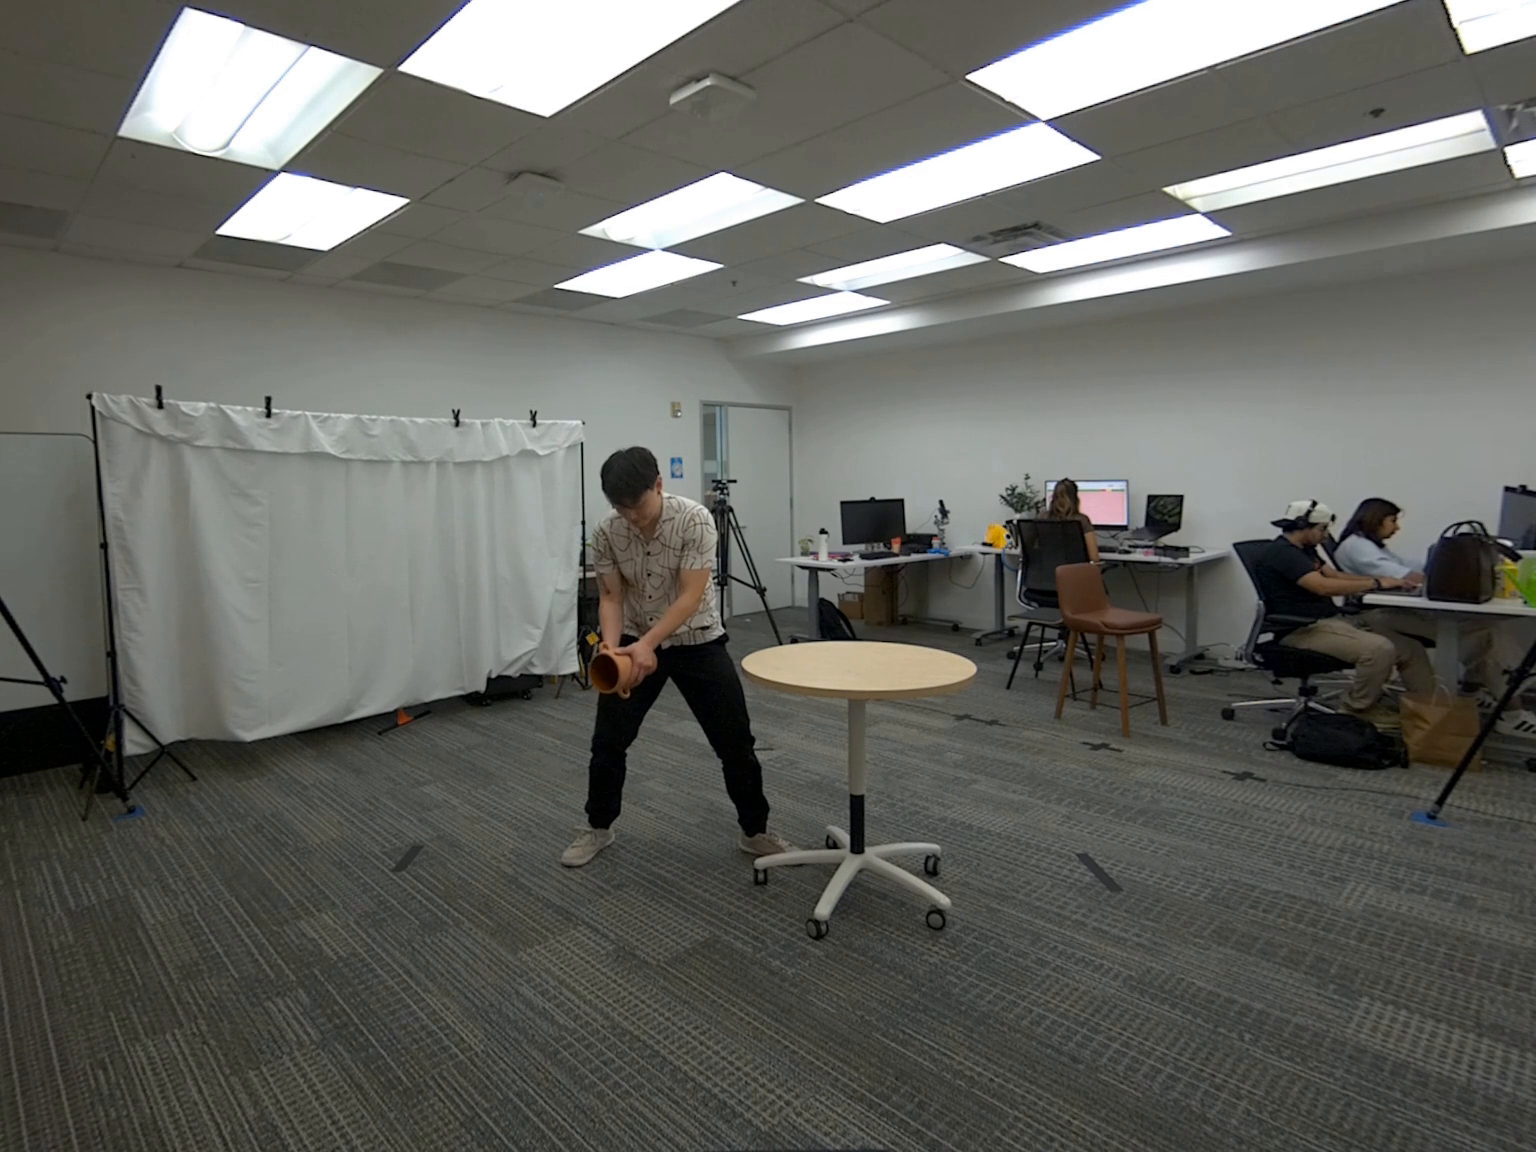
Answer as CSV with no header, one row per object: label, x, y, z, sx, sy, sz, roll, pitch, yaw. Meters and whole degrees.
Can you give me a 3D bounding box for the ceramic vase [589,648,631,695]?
ceramic vase,-0.479,0.302,2.819,0.138,0.158,0.215,12,10,27
